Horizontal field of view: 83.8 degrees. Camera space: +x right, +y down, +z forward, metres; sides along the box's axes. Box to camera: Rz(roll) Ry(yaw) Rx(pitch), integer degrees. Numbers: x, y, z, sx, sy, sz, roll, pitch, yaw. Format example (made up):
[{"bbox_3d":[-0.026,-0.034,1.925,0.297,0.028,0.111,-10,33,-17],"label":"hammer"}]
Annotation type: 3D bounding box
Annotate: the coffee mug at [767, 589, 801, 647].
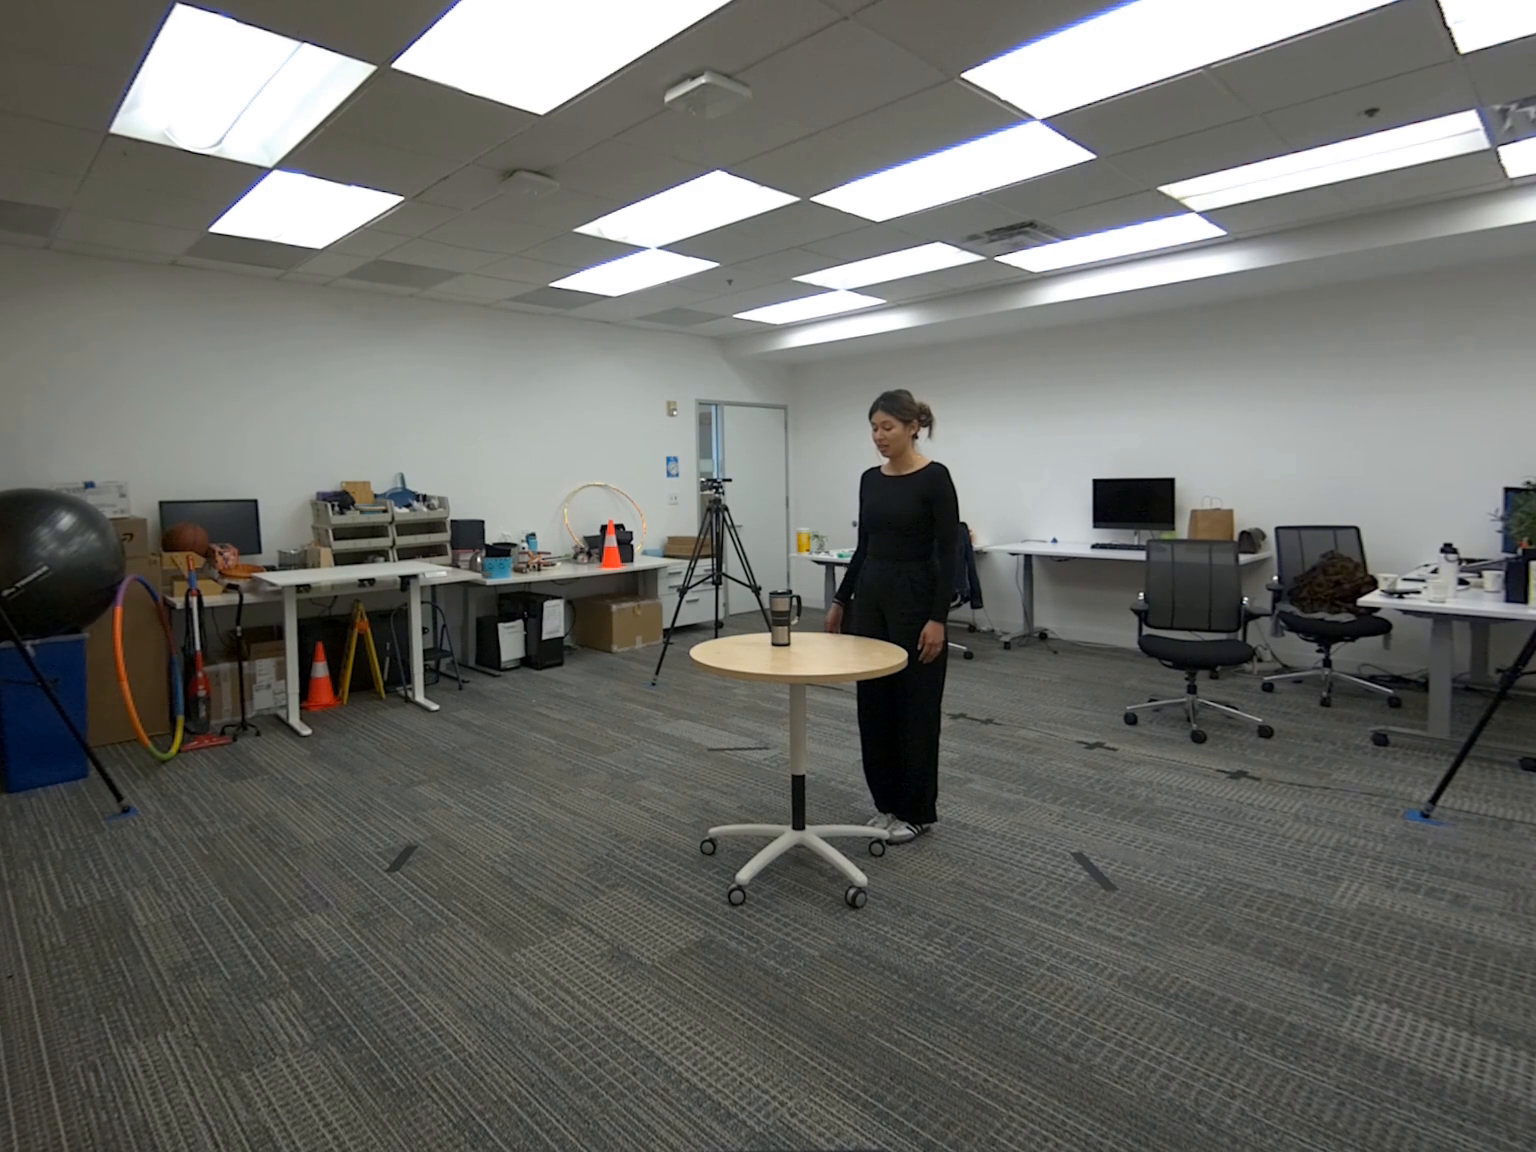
[{"bbox_3d":[0.063,0.160,3.125,0.125,0.203,0.085,0,-1,35],"label":"coffee mug"}]
